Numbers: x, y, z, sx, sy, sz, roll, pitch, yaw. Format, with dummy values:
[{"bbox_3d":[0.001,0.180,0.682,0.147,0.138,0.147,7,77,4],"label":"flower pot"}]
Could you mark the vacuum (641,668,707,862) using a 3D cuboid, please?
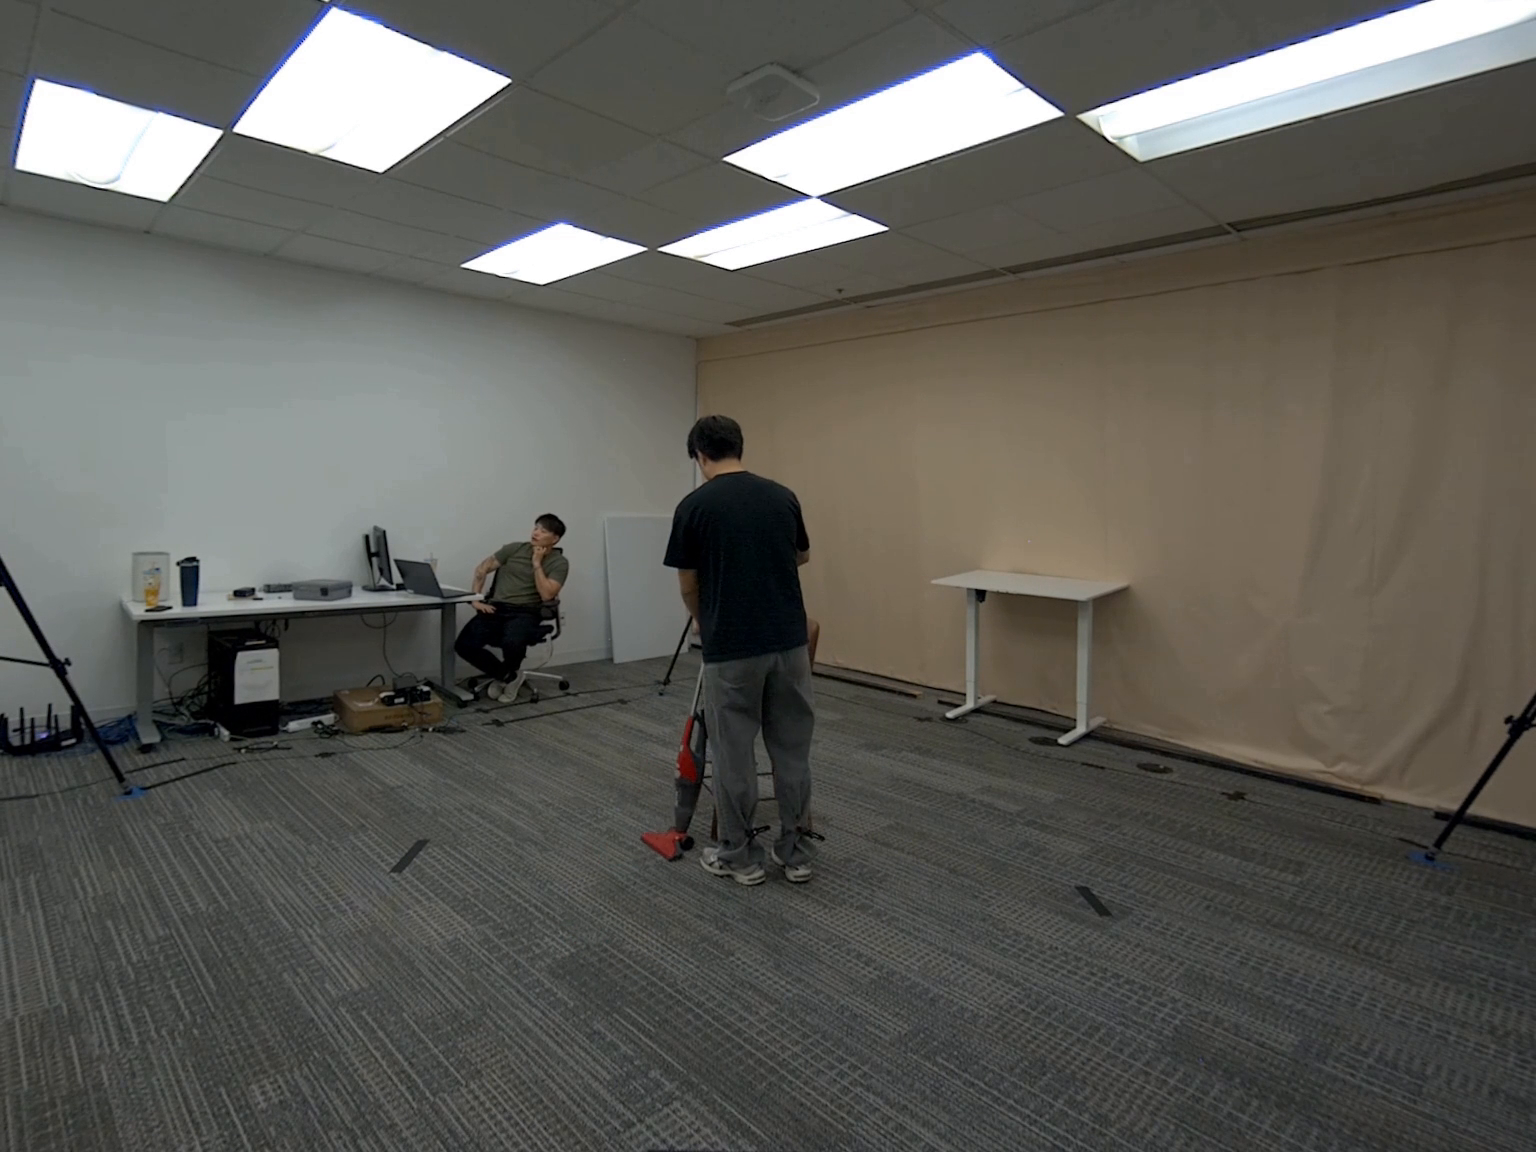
[{"bbox_3d":[-0.282,0.565,3.404,0.140,1.053,0.259,17,-9,-39],"label":"vacuum"}]
